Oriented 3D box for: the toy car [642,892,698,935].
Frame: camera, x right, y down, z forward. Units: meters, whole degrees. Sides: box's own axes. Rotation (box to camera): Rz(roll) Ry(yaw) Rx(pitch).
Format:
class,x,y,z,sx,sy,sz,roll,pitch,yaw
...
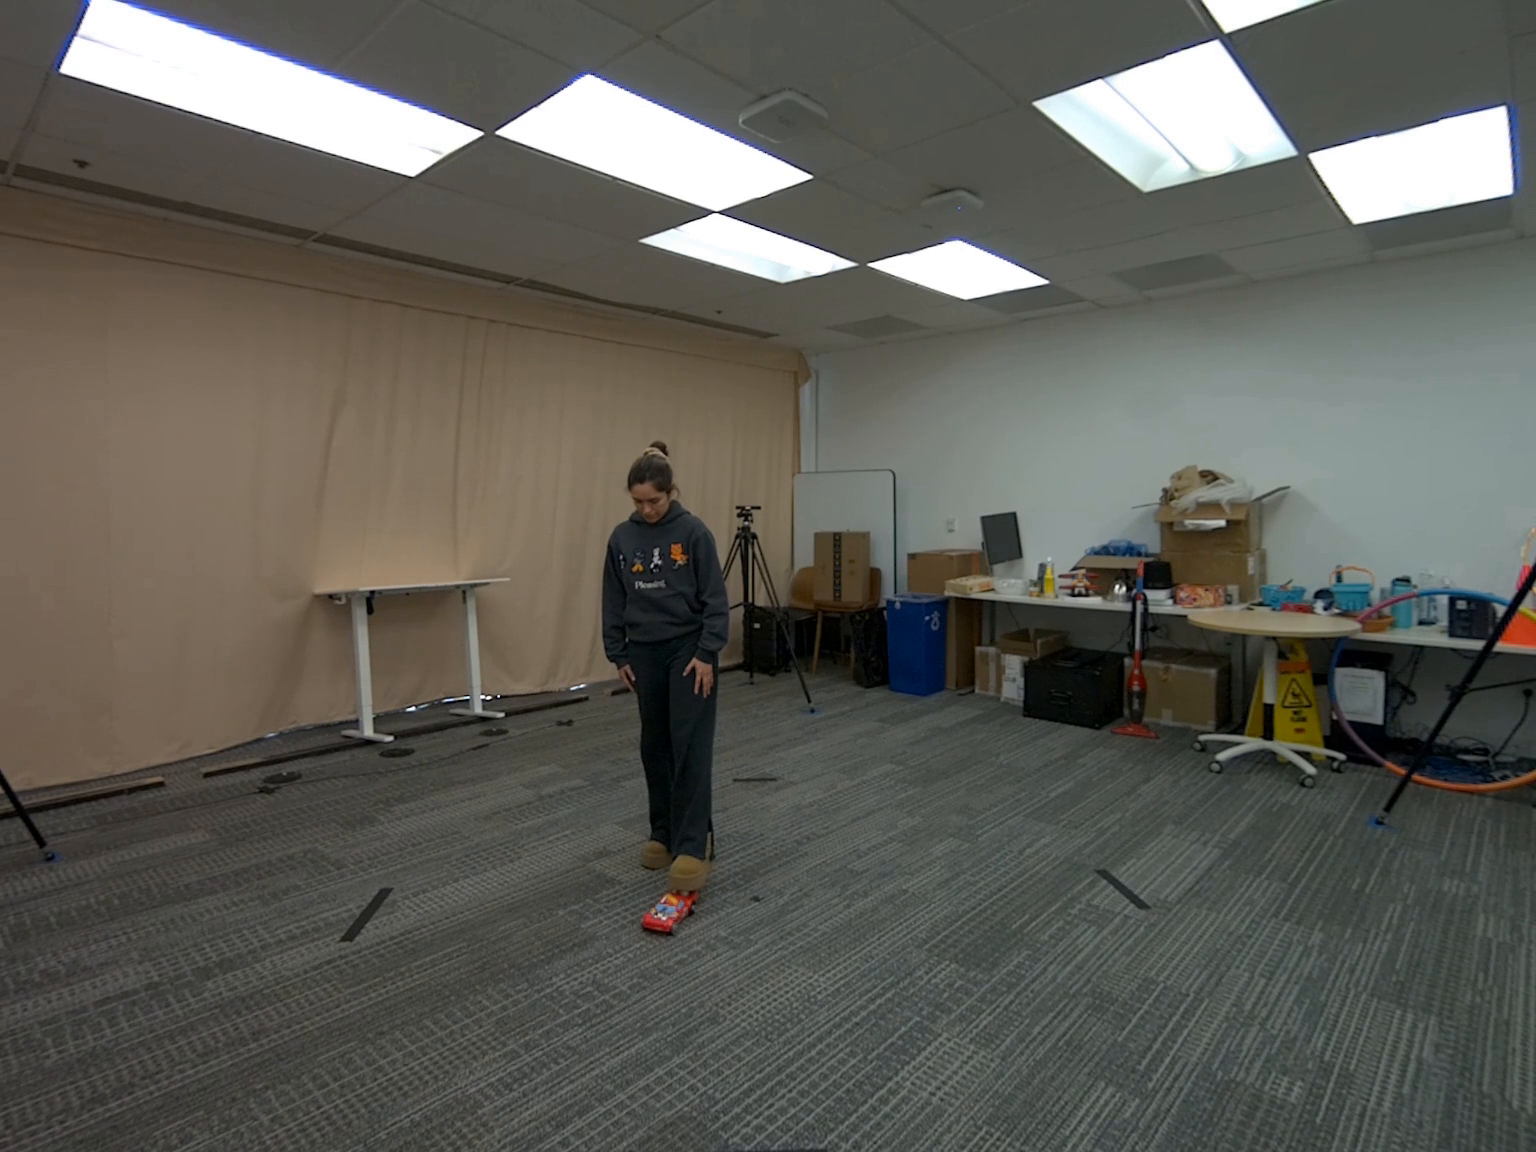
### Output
class,x,y,z,sx,sy,sz,roll,pitch,yaw
toy car,-0.316,1.125,2.843,0.133,0.082,0.251,1,14,21
